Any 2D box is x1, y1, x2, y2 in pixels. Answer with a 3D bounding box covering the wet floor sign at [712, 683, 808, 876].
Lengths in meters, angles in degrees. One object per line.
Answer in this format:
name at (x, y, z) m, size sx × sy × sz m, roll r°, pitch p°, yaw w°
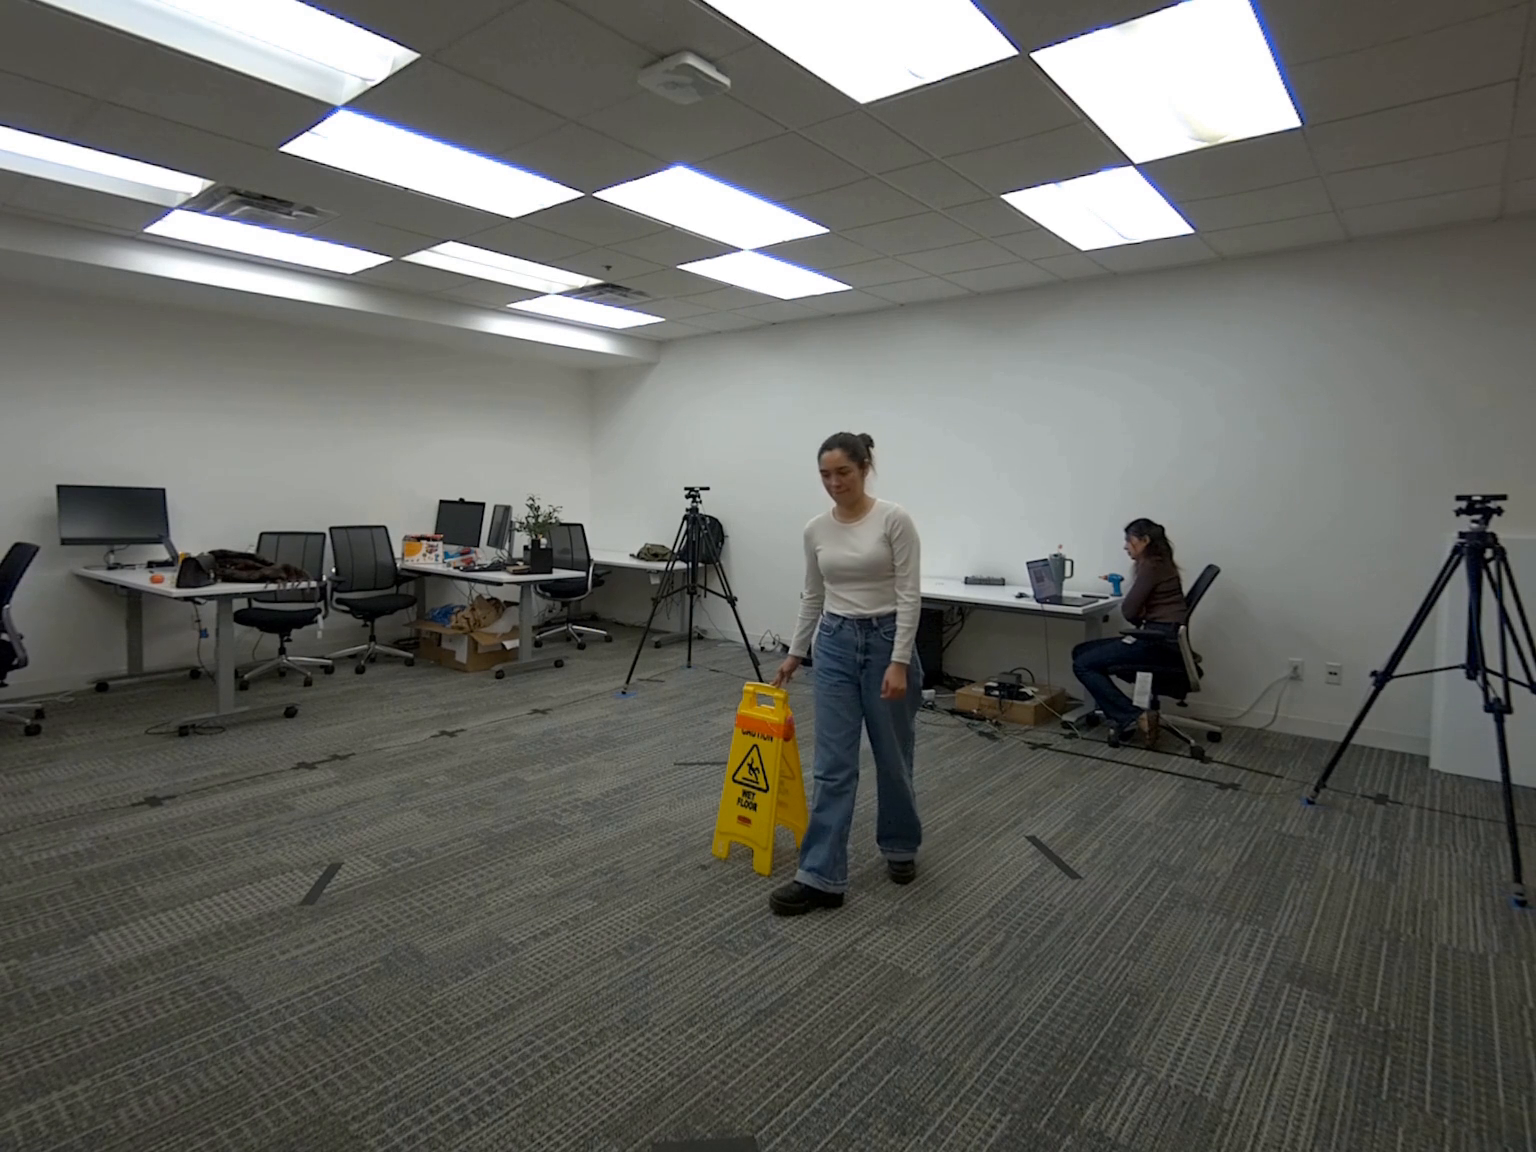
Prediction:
wet floor sign at (-0.023, 0.731, 3.236) m, size 0.292 × 0.644 × 0.281 m, roll 4°, pitch 4°, yaw 39°
